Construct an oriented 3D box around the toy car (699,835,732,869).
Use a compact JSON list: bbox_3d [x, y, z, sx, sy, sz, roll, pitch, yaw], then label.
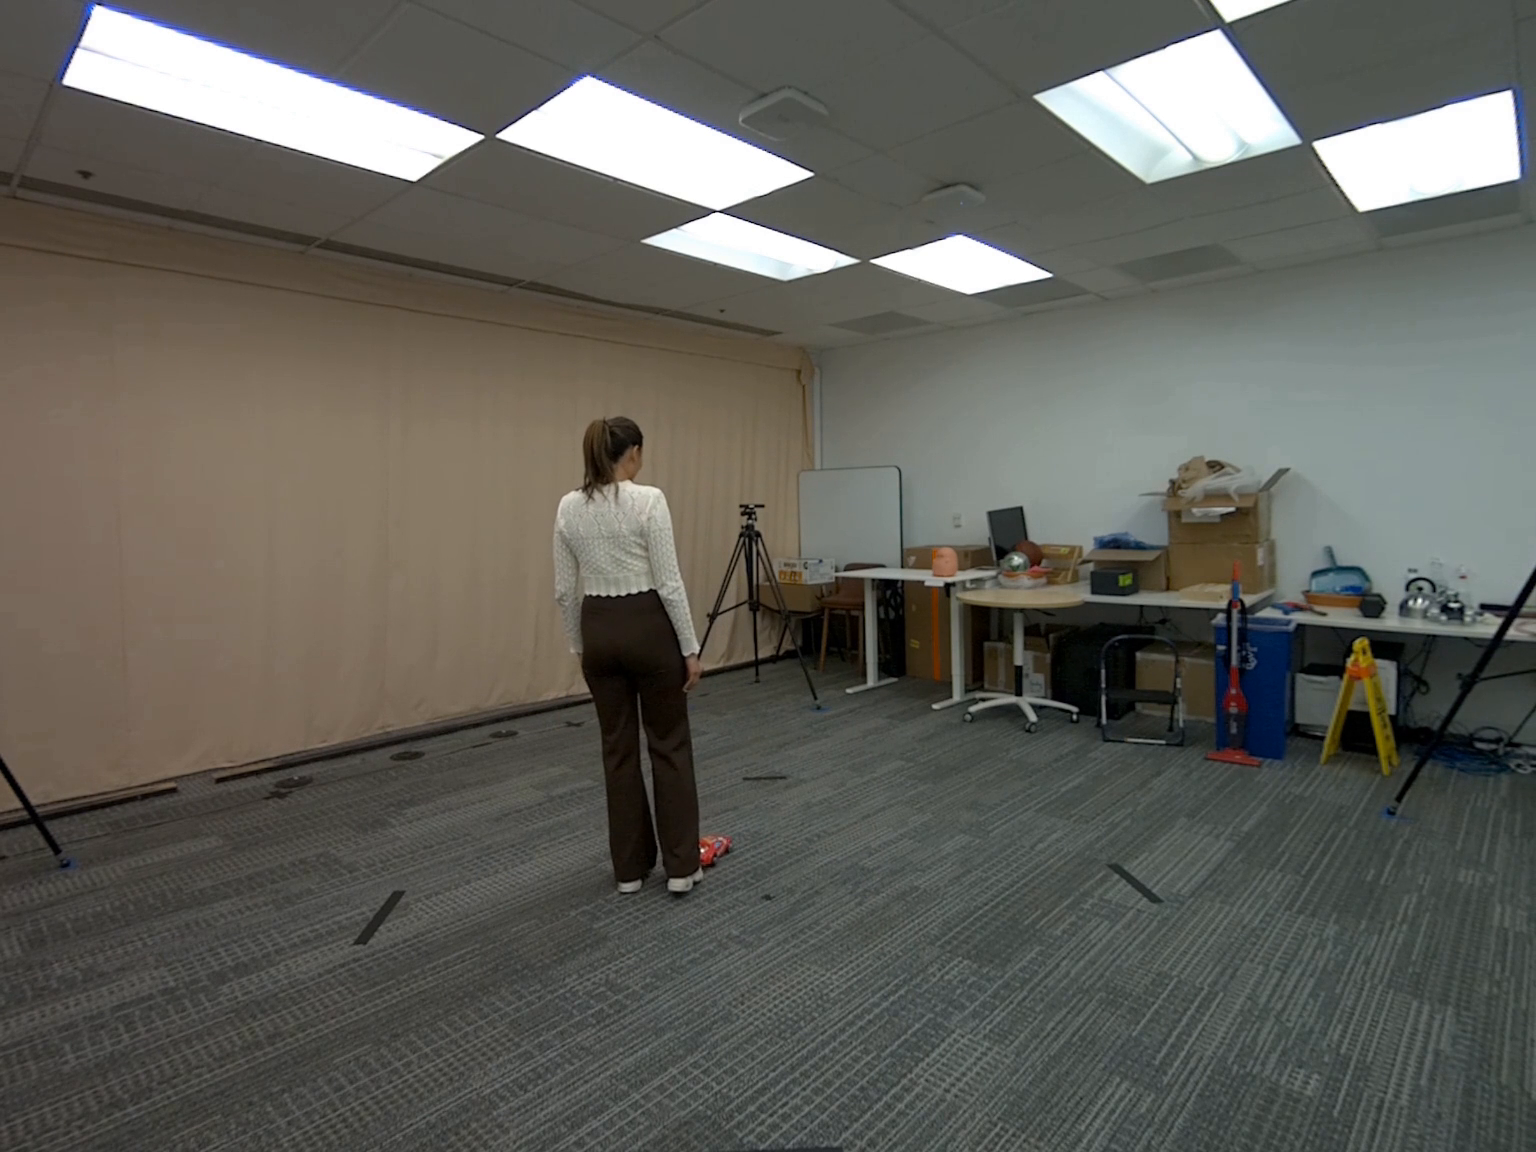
[{"bbox_3d":[-0.237,1.085,3.320,0.133,0.083,0.247,1,-5,25],"label":"toy car"}]
